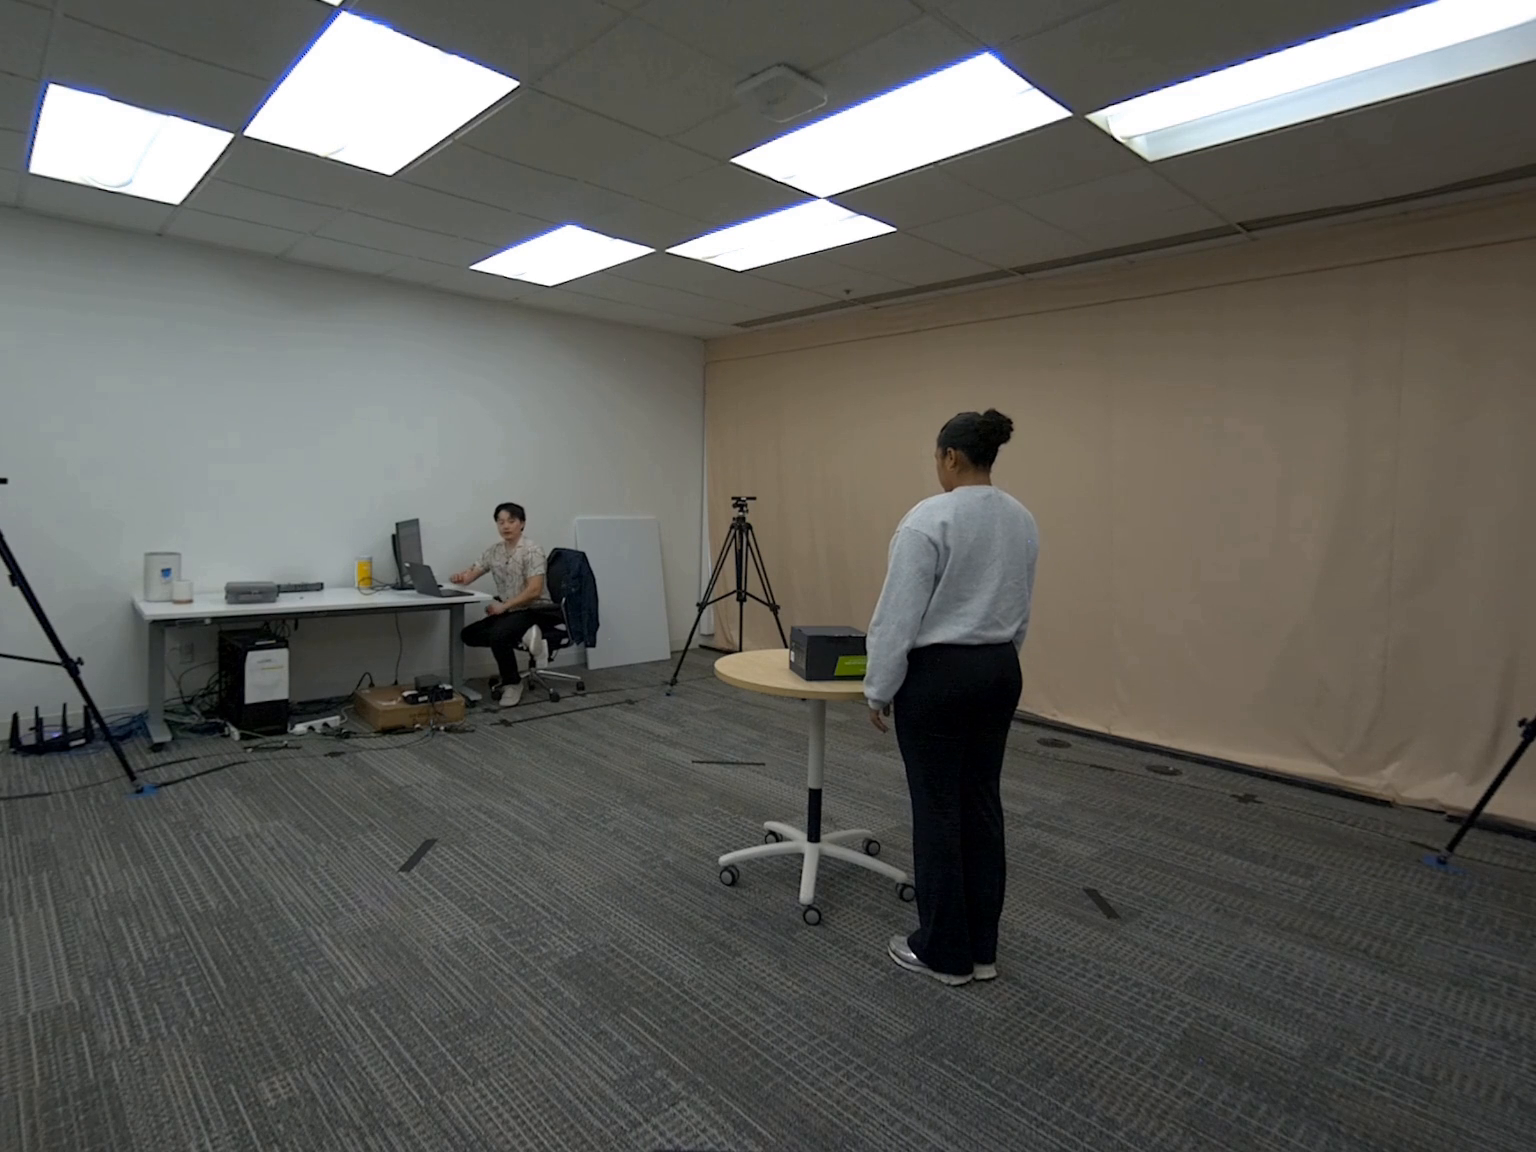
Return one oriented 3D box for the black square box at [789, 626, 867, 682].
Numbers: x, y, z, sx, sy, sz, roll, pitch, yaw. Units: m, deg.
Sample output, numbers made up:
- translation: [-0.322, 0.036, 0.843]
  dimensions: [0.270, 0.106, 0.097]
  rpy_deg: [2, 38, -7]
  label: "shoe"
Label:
- translation: [0.211, 0.264, 2.944]
  dimensions: [0.226, 0.155, 0.219]
  rpy_deg: [1, 4, -12]
  label: "black square box"
